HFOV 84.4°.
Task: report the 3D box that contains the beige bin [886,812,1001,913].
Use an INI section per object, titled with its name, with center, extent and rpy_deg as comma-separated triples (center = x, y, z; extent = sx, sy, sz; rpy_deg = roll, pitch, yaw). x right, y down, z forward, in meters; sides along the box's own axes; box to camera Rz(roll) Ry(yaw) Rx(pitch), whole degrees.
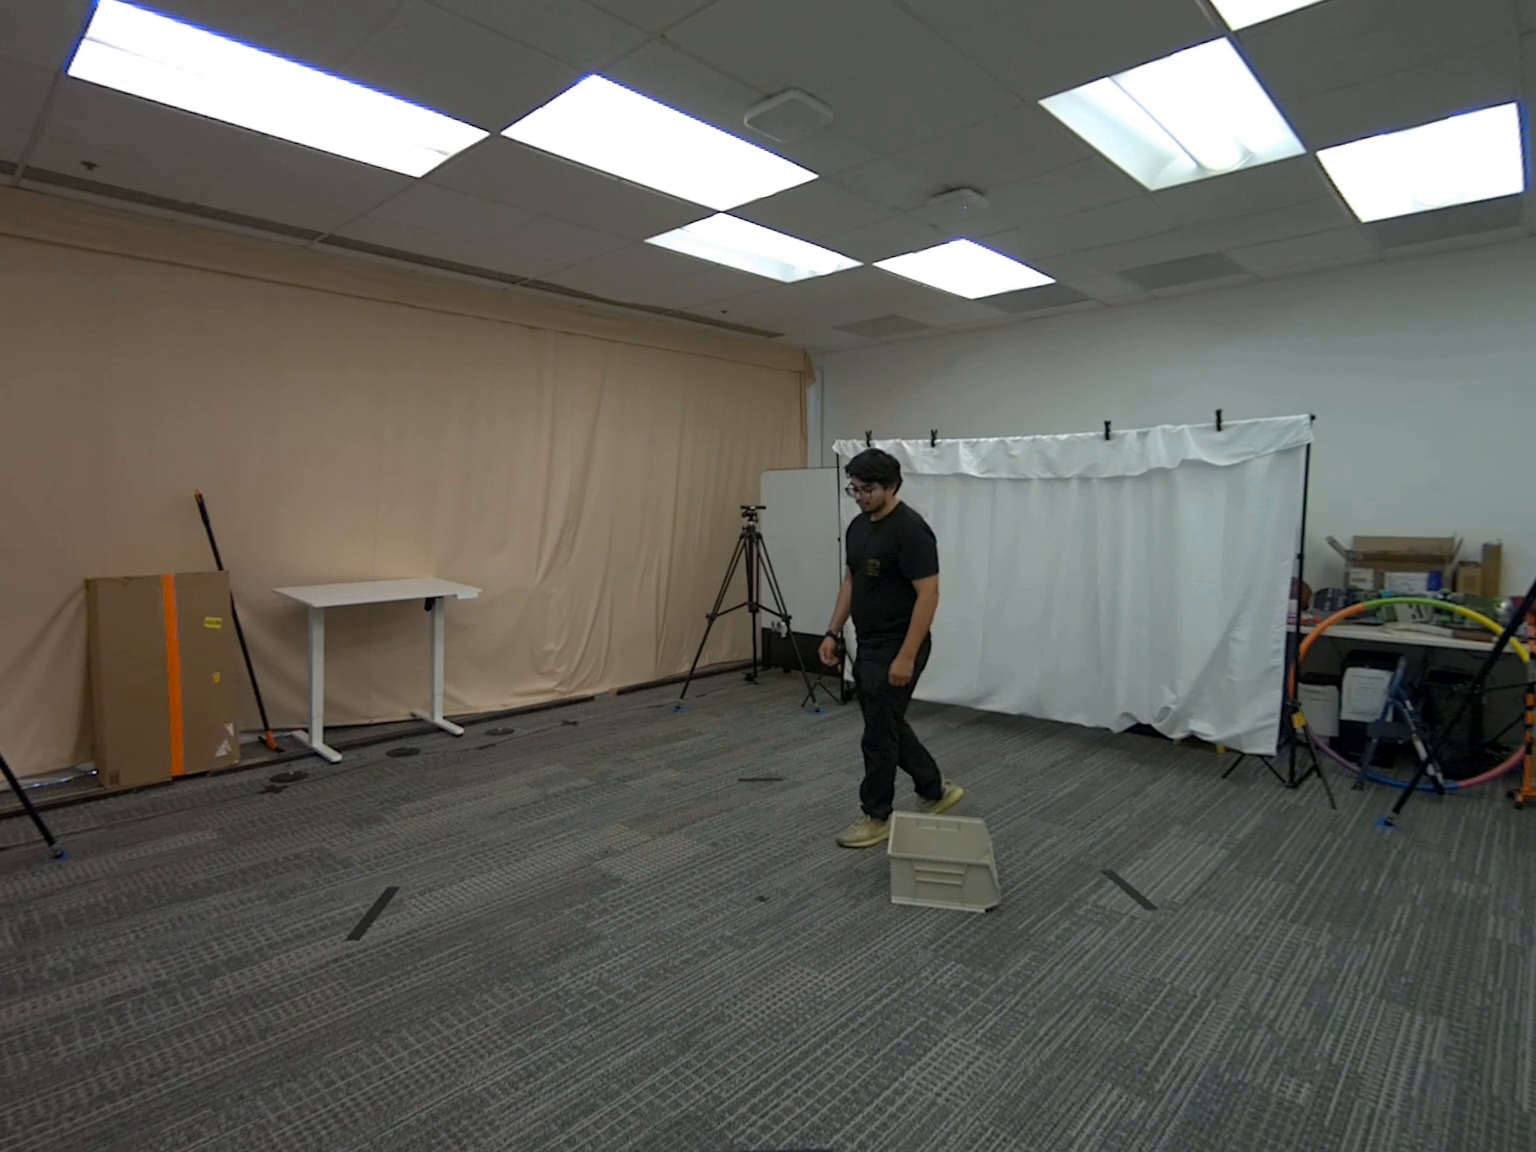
[beige bin]
center = 0.648, 1.042, 3.100
extent = 0.383, 0.188, 0.417
rpy_deg = 0, 4, 12
